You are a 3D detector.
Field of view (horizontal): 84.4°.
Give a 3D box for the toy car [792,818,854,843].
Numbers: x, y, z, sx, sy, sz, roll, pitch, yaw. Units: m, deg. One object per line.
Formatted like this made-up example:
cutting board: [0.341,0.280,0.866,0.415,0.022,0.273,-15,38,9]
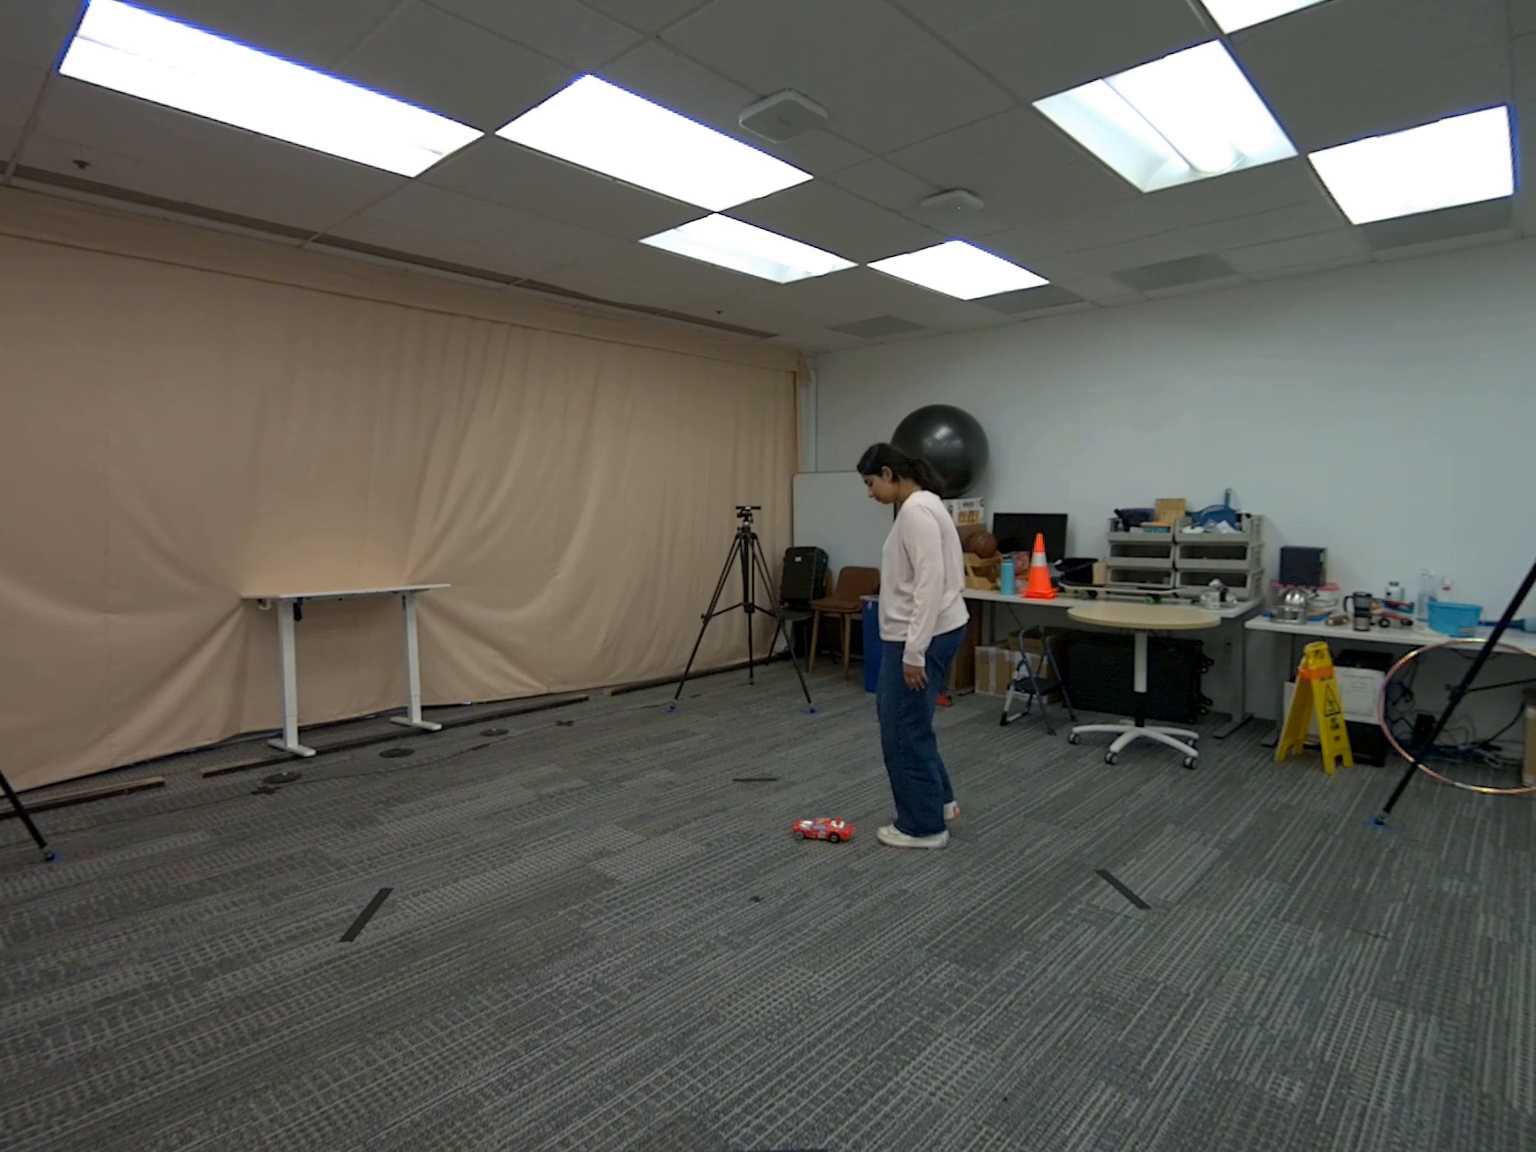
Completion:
toy car: [0.241,1.072,3.538,0.258,0.083,0.128,-10,2,14]
